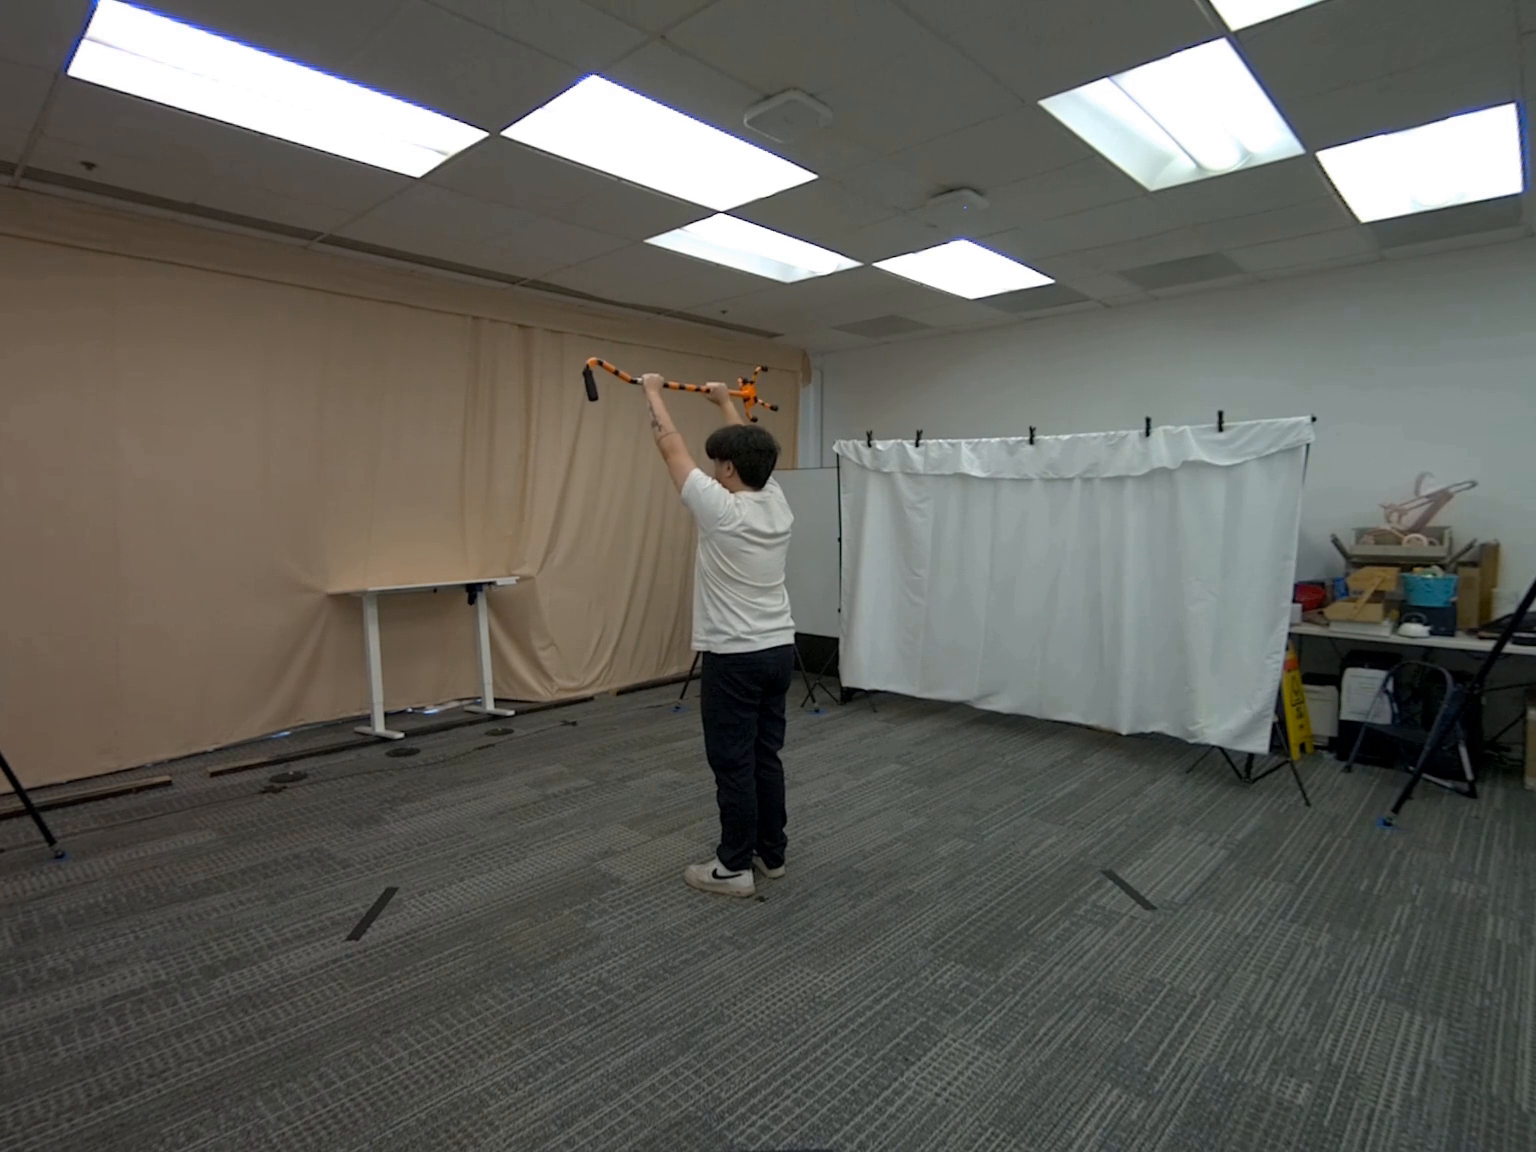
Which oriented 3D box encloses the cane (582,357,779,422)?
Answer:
[{"bbox_3d":[-0.325,-0.728,3.220,0.155,0.208,0.880,-22,-11,42],"label":"cane"}]
